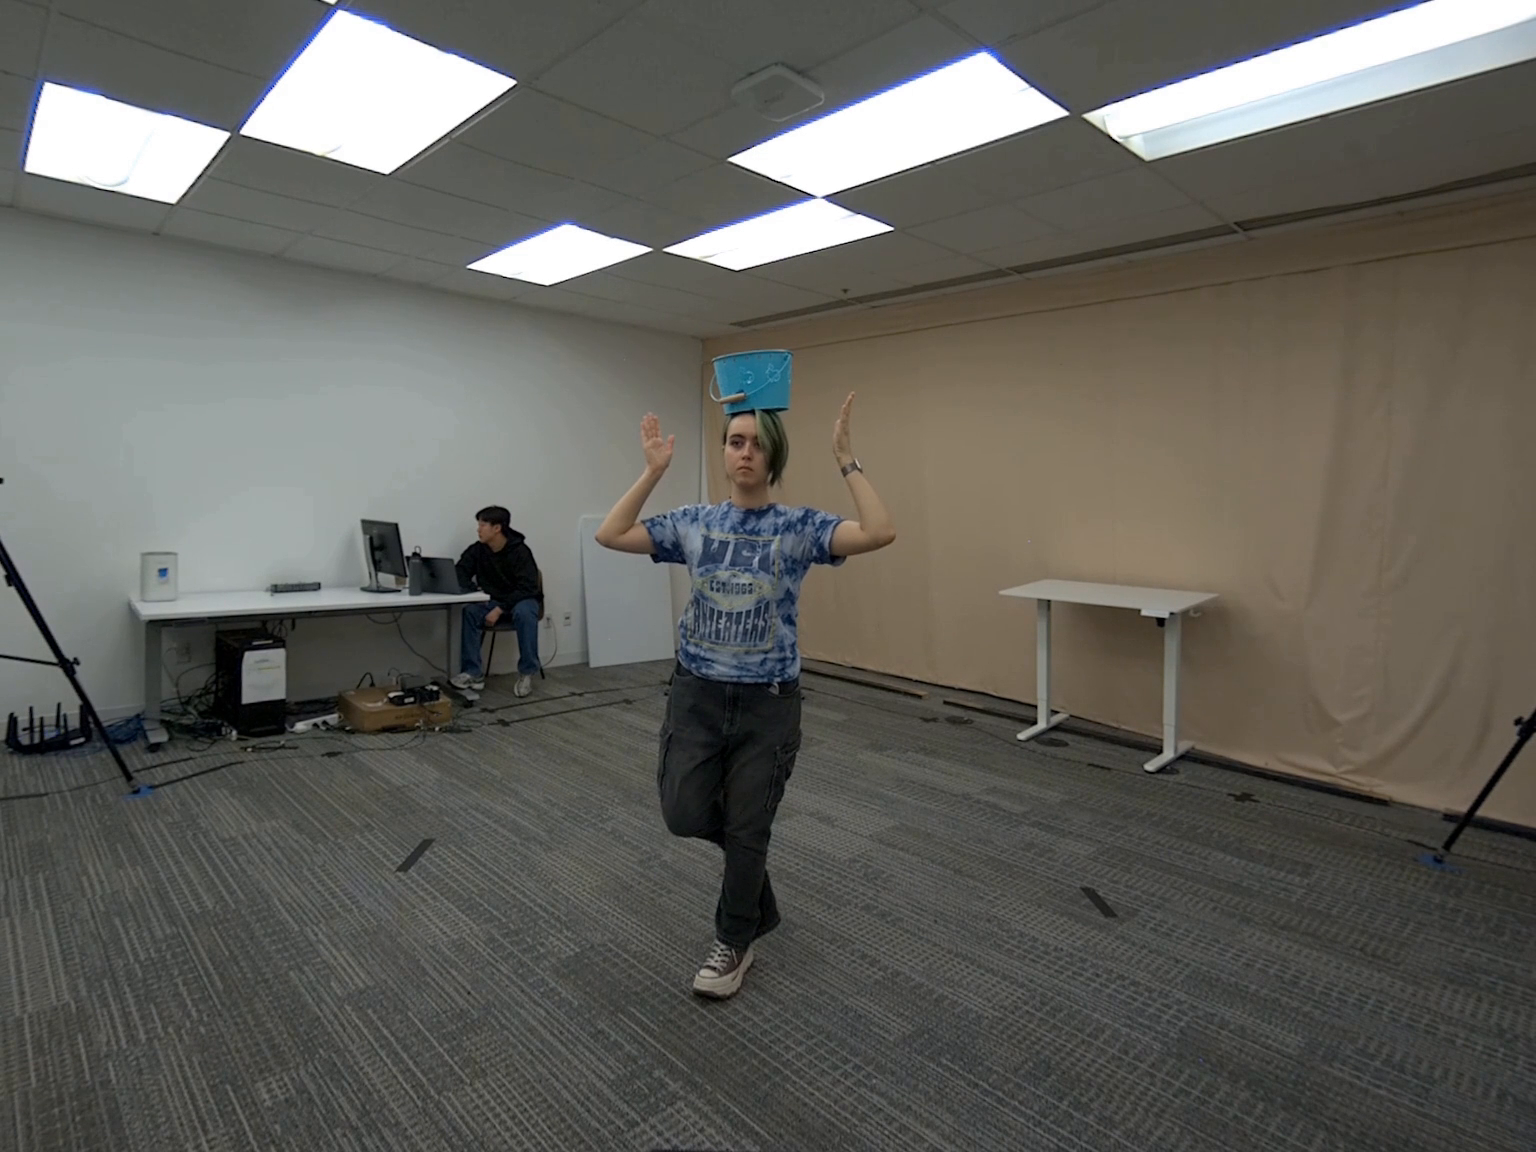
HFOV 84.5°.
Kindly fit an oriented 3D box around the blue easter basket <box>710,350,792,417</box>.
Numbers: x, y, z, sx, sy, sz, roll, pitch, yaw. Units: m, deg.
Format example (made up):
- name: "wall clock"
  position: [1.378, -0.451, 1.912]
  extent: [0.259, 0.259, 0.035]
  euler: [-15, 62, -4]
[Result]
- name: "blue easter basket"
  position: [-0.042, -0.531, 2.347]
  extent: [0.243, 0.155, 0.244]
  euler: [-4, 5, -1]
